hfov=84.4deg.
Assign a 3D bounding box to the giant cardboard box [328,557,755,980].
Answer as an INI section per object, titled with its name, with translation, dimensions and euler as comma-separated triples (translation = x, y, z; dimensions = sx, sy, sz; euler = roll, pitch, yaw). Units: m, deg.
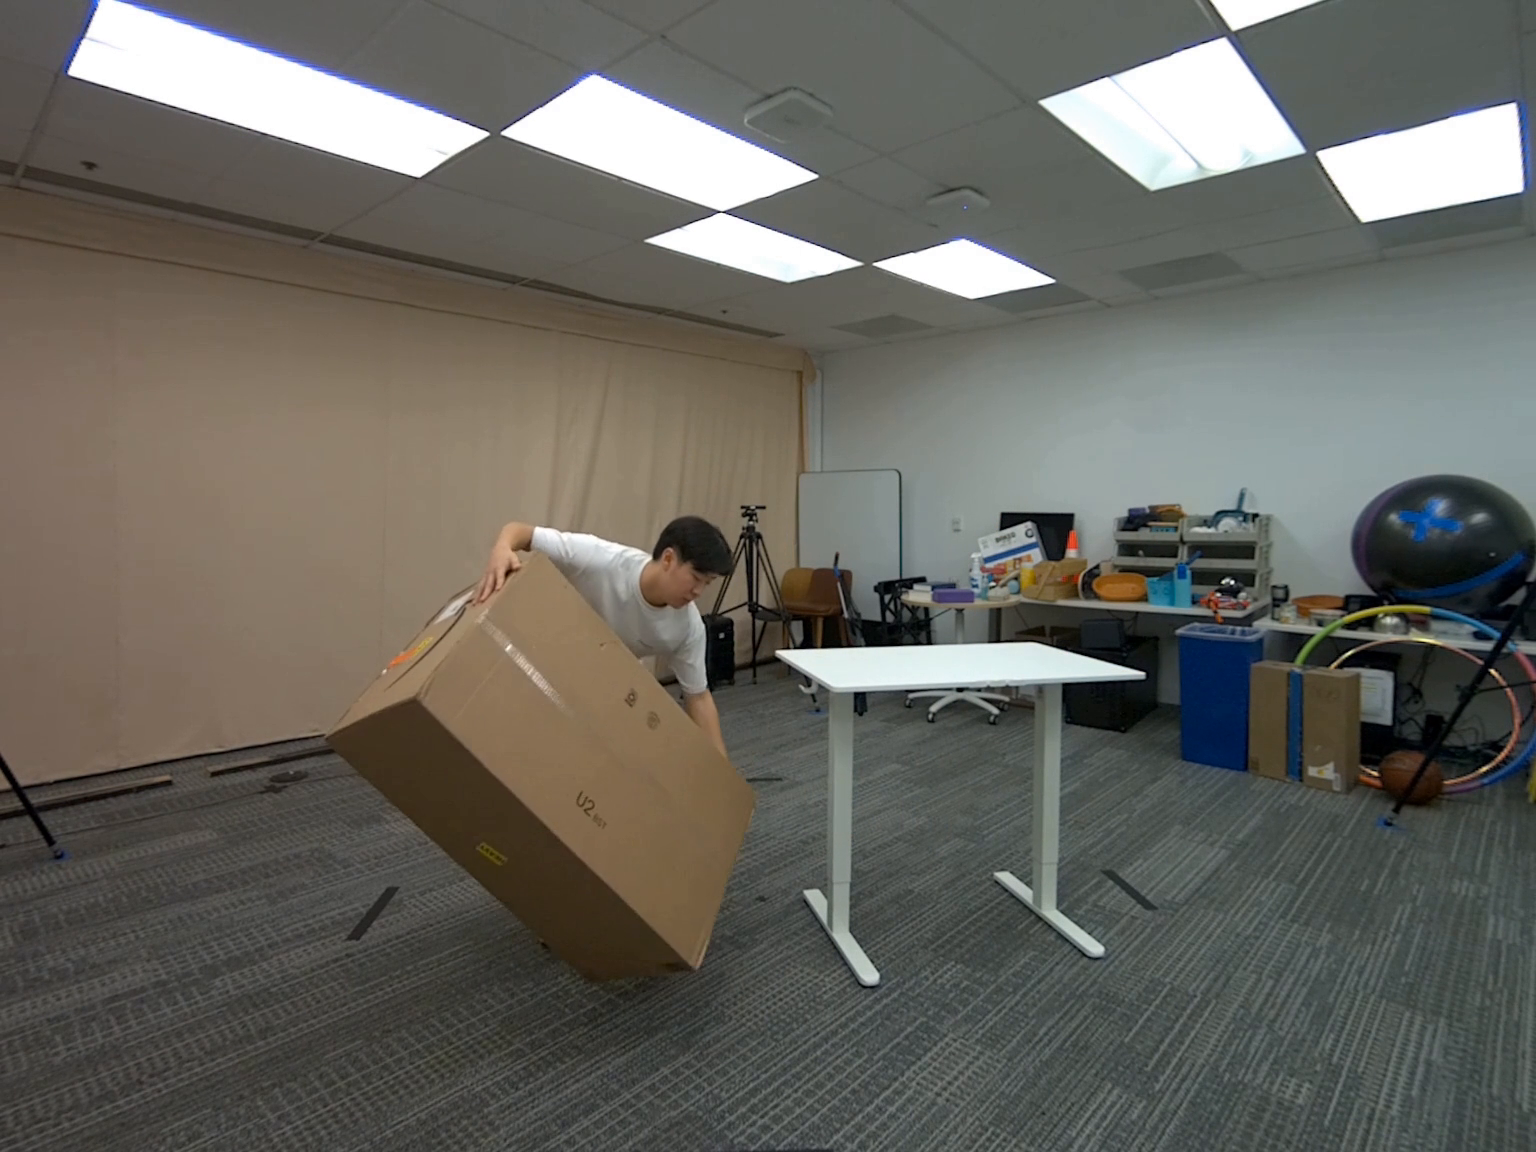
[giant cardboard box]
translation = -0.550, 0.532, 2.307
dimensions = 0.434, 1.005, 0.578
euler = -26, 23, 33
